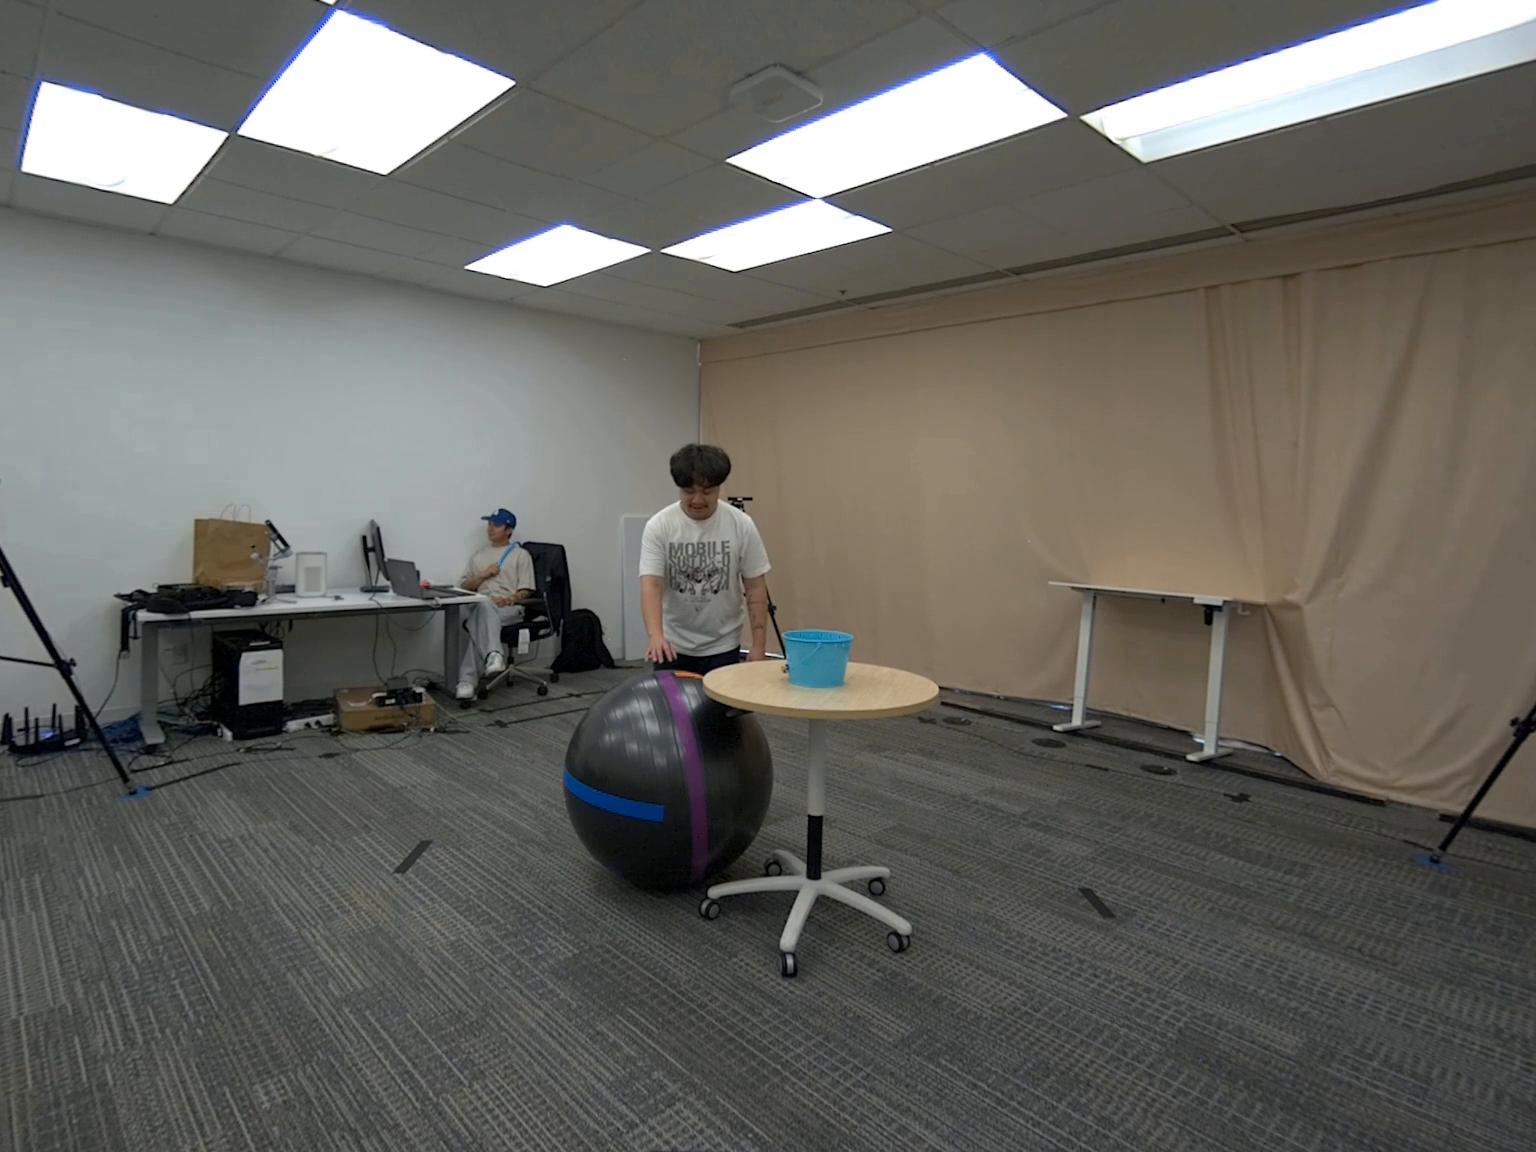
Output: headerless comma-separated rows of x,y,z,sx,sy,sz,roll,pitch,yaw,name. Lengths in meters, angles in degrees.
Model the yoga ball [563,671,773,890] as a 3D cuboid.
-0.371,0.733,3.071,0.757,0.756,0.761,1,4,-1,yoga ball
